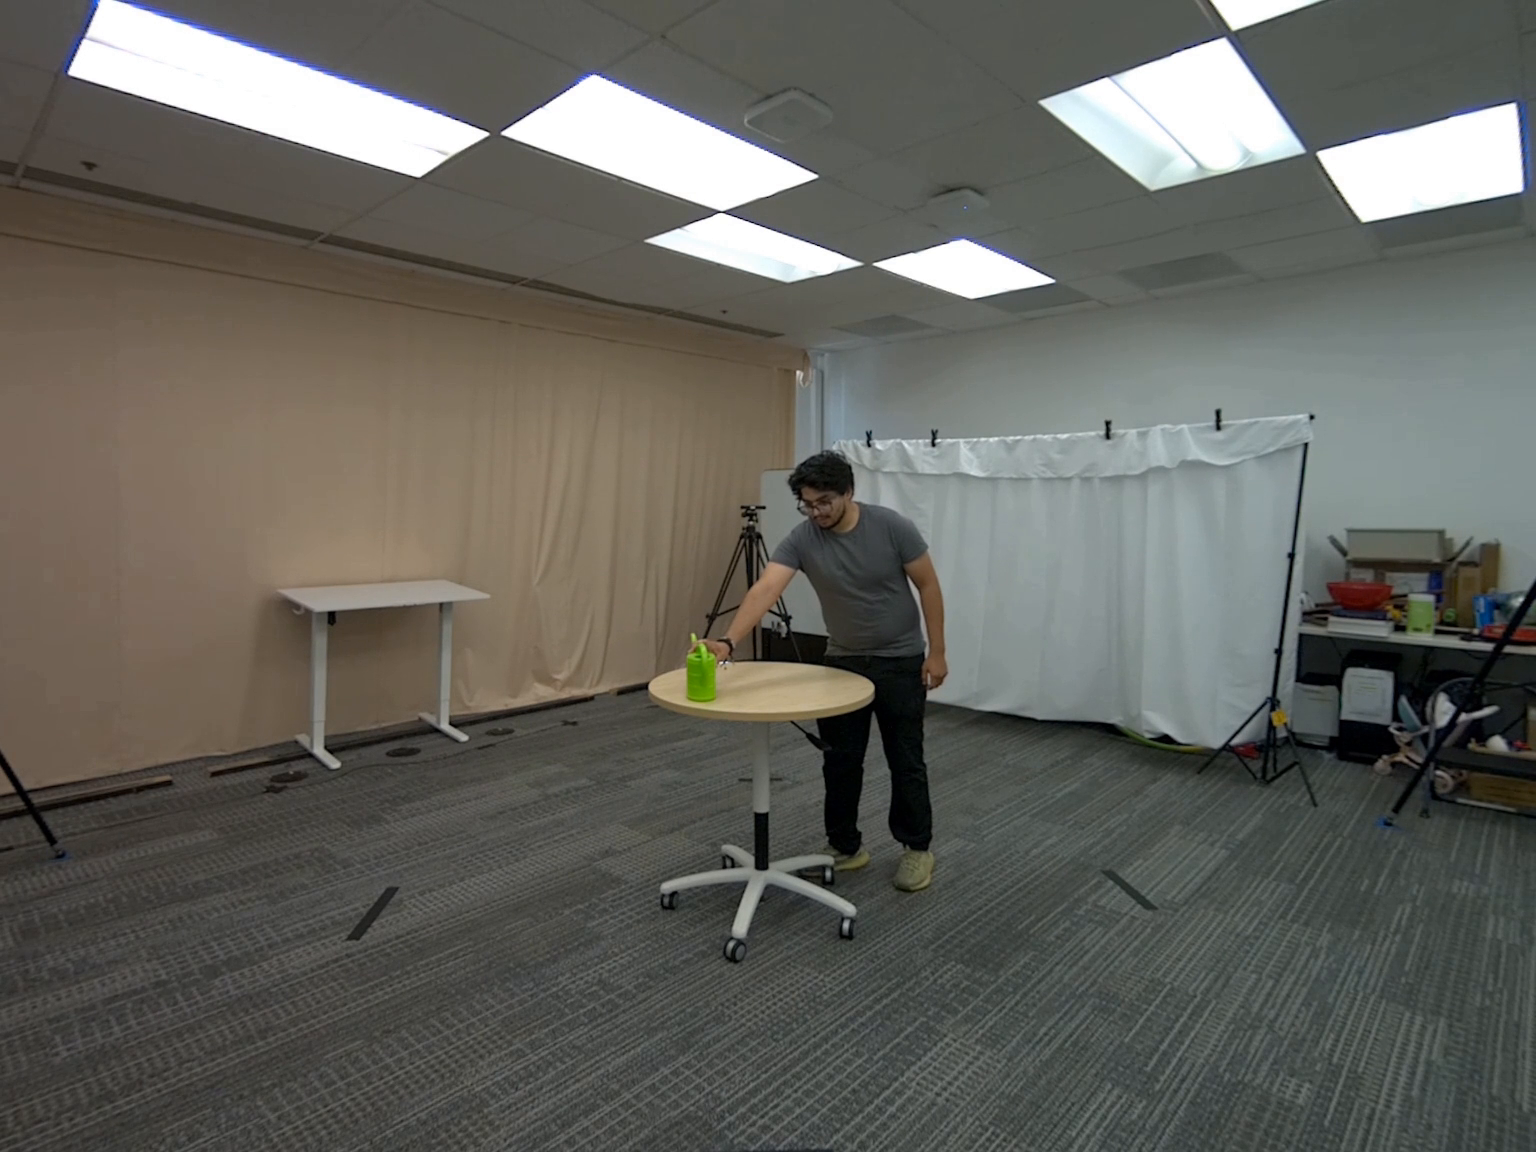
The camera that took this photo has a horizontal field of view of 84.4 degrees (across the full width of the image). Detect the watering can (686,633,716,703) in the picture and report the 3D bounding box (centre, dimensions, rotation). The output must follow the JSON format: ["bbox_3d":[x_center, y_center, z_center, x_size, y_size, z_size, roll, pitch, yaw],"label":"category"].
[{"bbox_3d":[-0.199,0.303,2.722,0.098,0.176,0.278,0,7,3],"label":"watering can"}]
